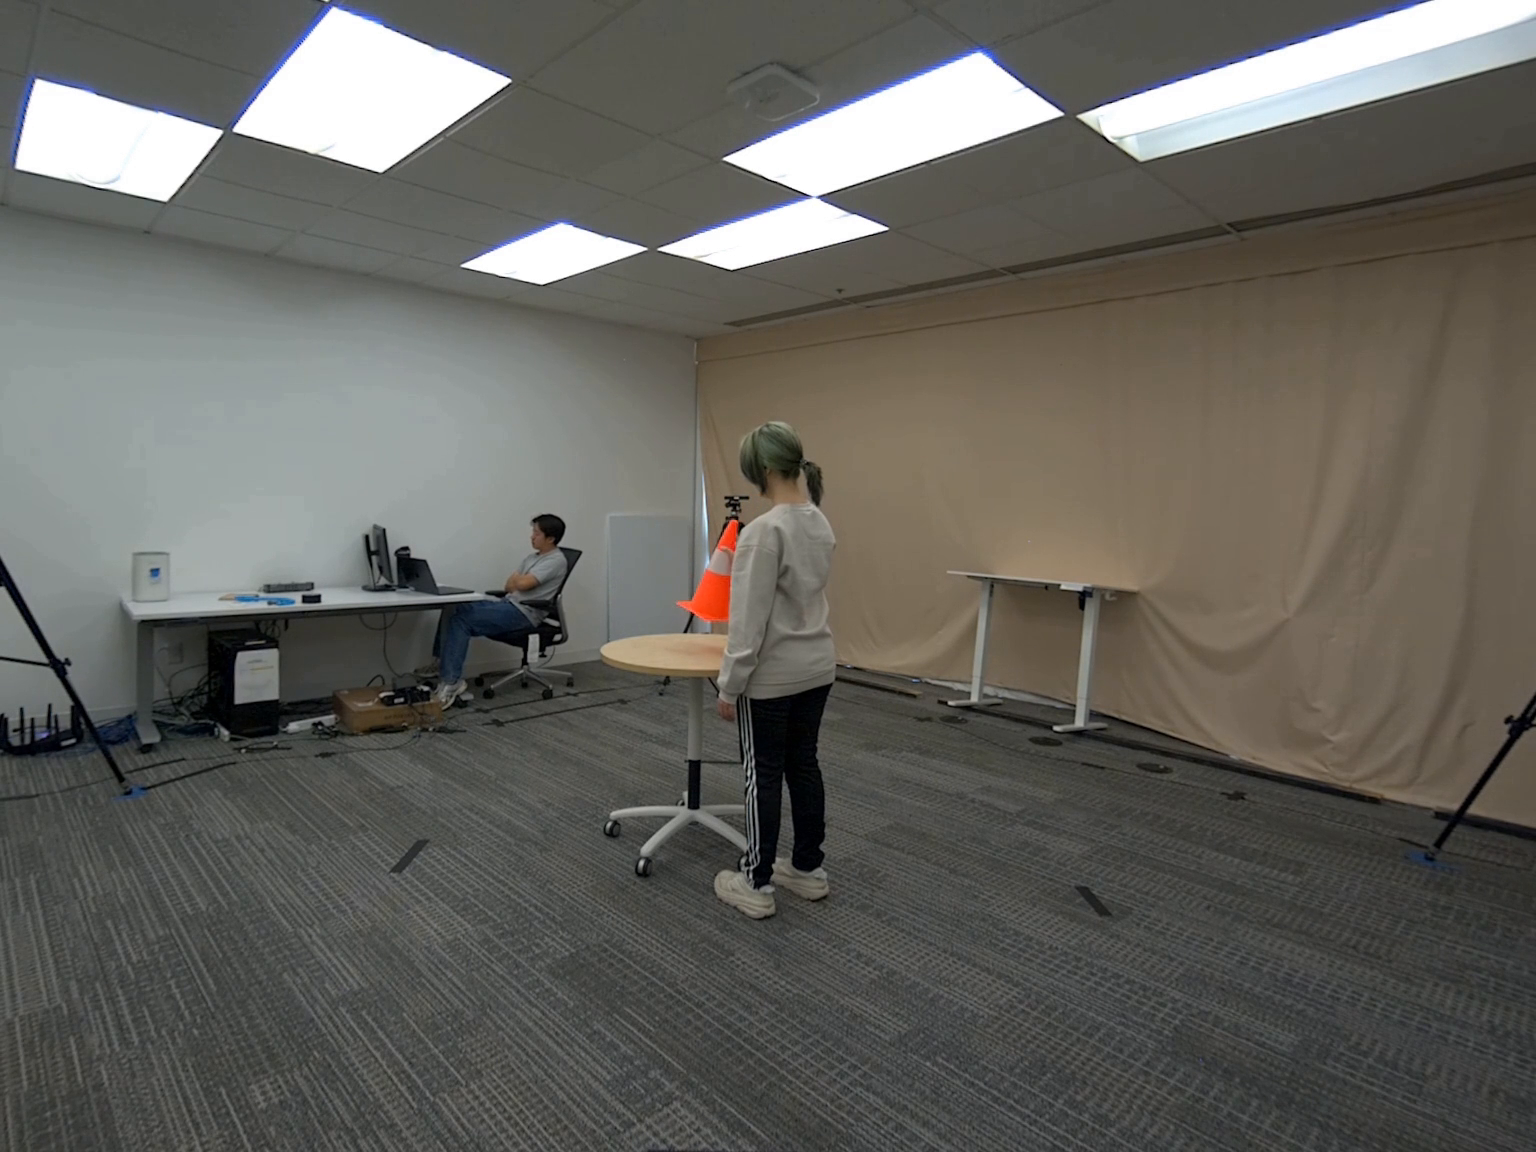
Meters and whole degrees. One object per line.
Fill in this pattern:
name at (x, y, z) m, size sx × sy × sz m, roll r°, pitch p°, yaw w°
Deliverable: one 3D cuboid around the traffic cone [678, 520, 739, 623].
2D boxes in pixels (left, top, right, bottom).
traffic cone at (-0.187, -0.036, 3.321) m, size 0.199 × 0.382 × 0.209 m, roll 7°, pitch 13°, yaw -46°
